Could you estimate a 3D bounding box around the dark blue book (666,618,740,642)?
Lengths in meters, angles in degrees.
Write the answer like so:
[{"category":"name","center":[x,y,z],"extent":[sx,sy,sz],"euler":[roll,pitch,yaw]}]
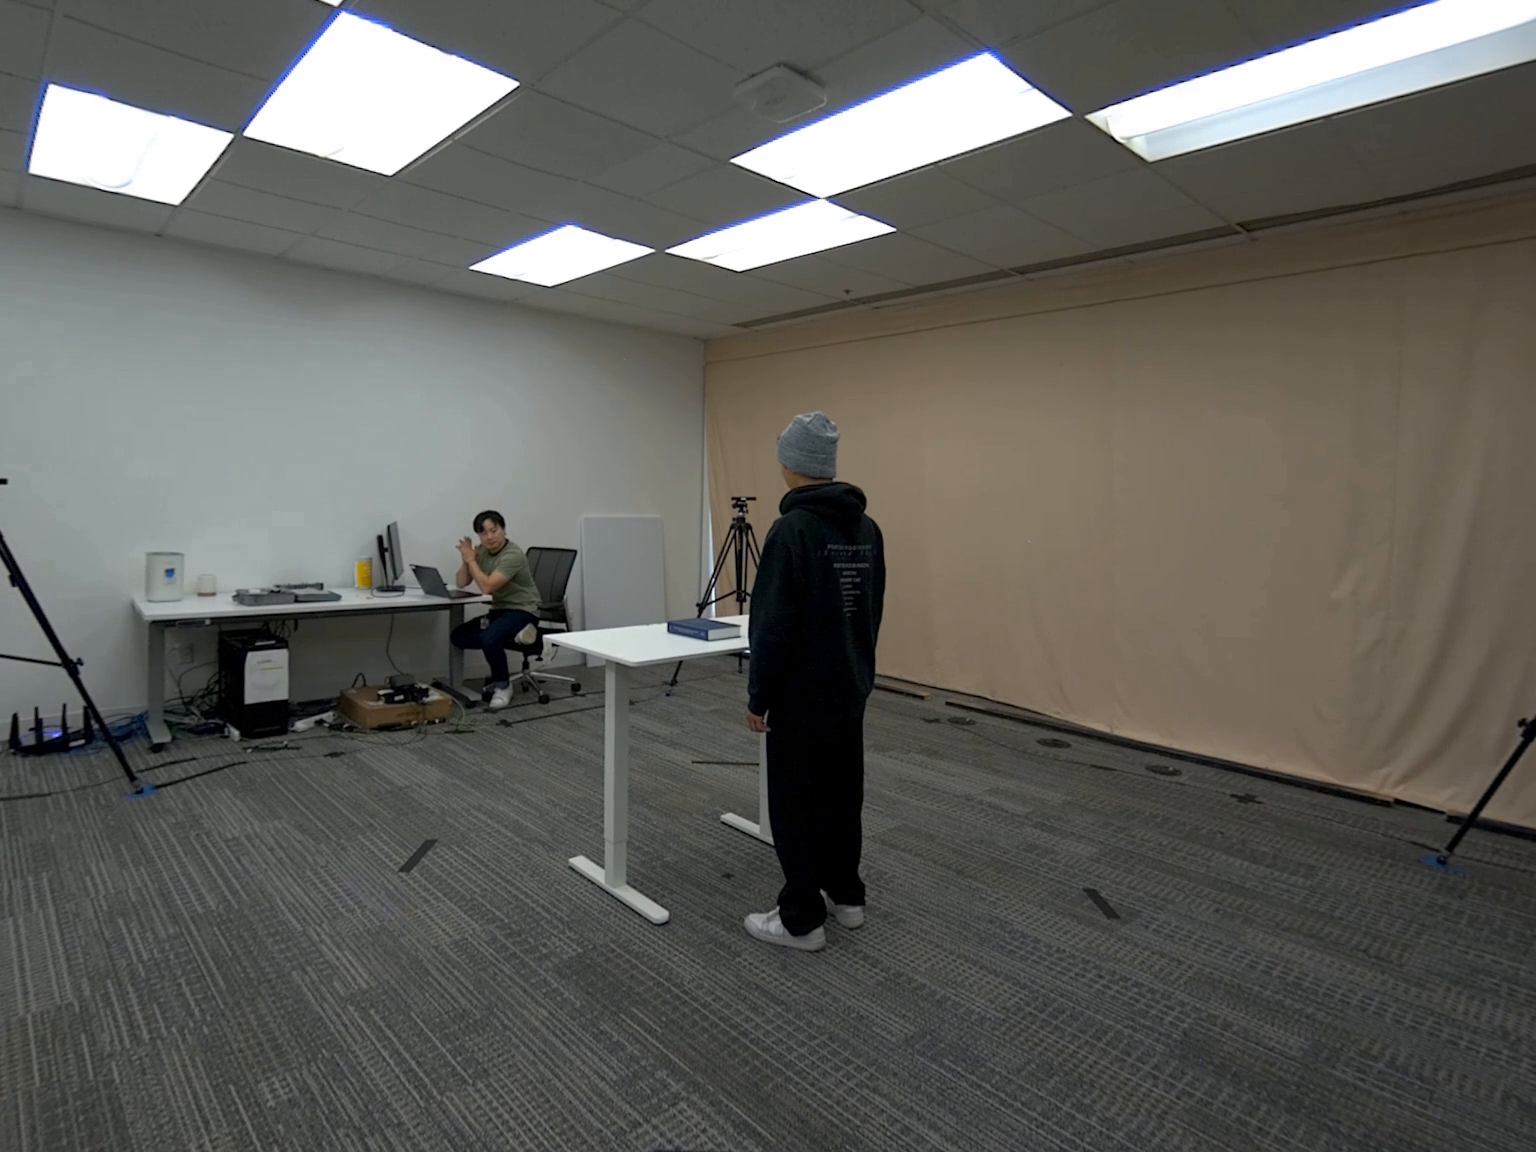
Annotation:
[{"category":"dark blue book","center":[-0.250,0.200,3.134],"extent":[0.160,0.045,0.251],"euler":[-4,7,-42]}]
